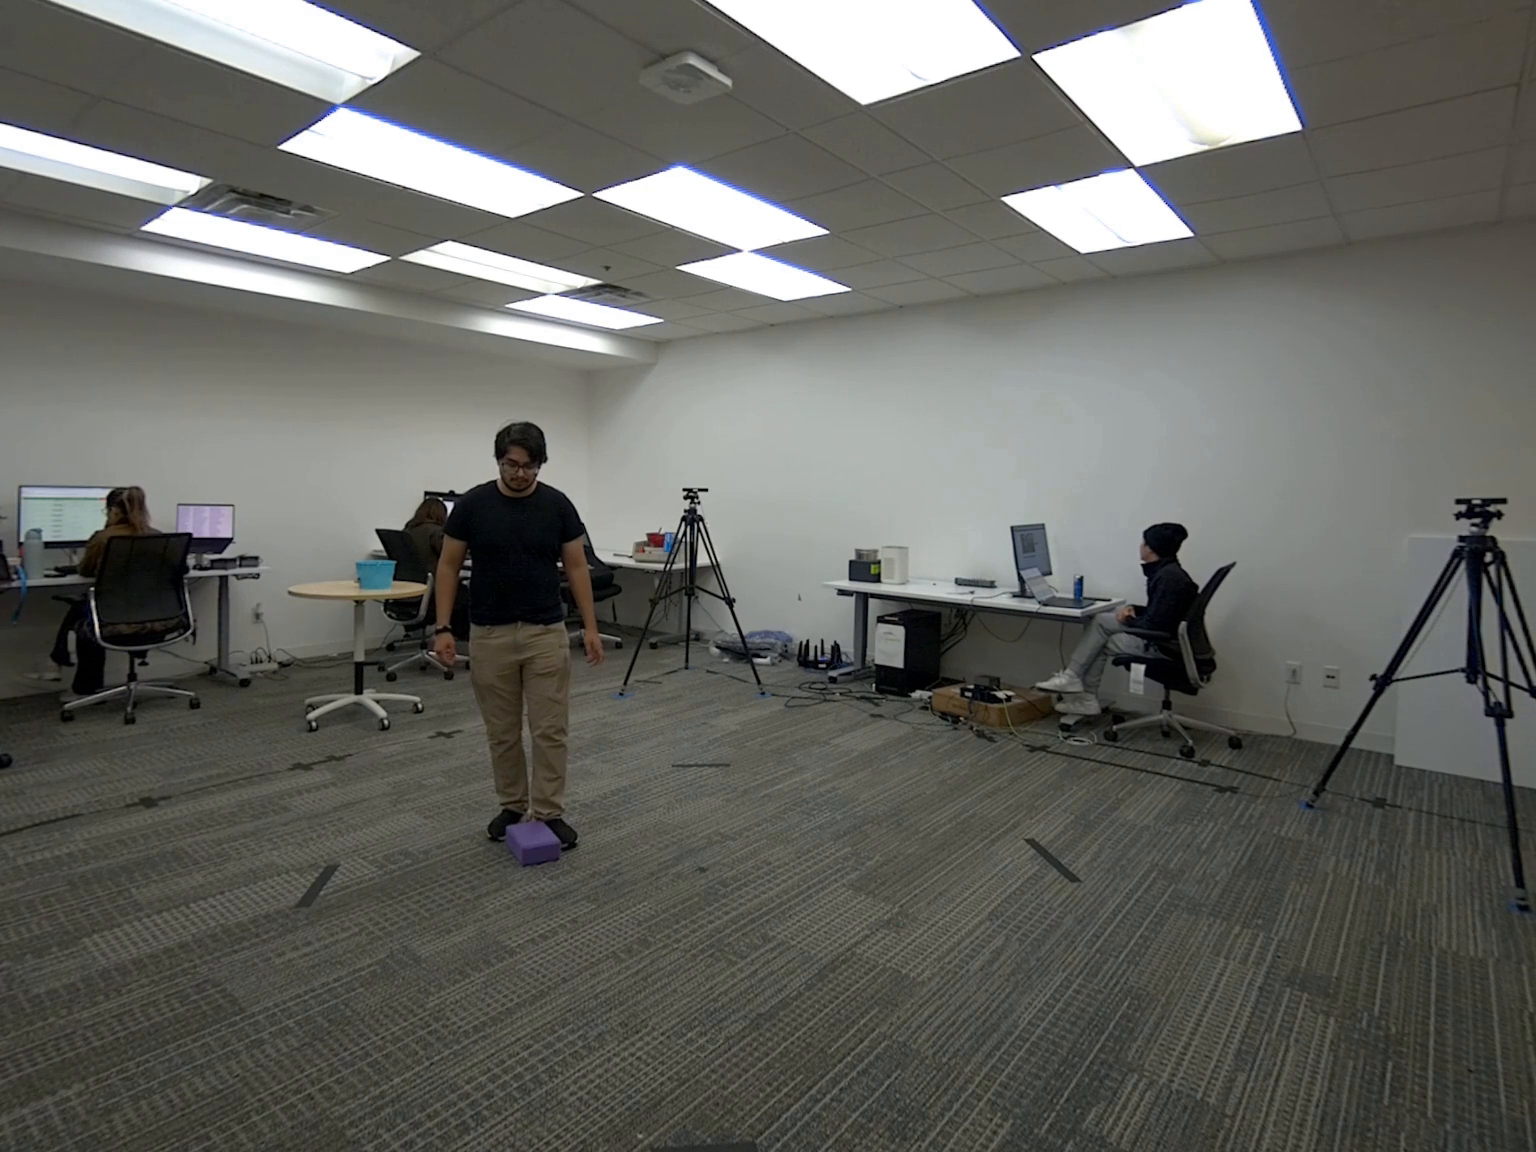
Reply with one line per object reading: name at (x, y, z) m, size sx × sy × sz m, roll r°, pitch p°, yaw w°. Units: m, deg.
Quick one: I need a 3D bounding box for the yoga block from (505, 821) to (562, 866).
yoga block at (-0.905, 1.007, 3.228) m, size 0.145 × 0.076 × 0.237 m, roll -2°, pitch 6°, yaw -34°
